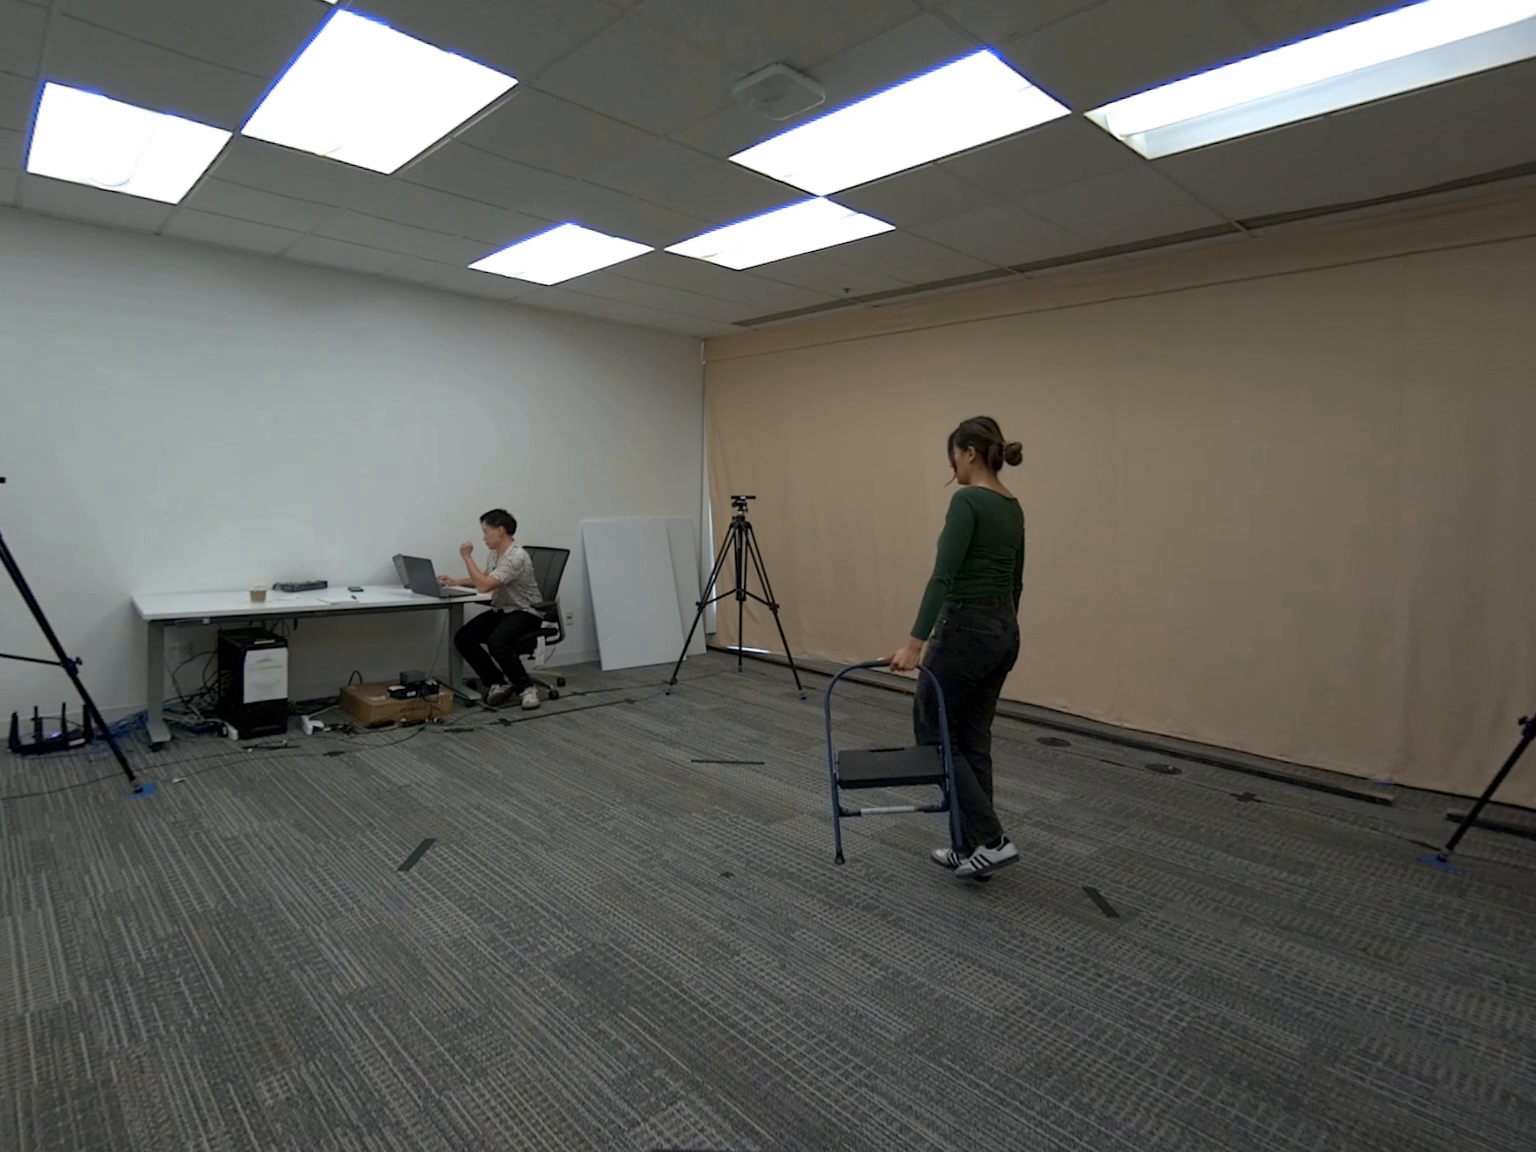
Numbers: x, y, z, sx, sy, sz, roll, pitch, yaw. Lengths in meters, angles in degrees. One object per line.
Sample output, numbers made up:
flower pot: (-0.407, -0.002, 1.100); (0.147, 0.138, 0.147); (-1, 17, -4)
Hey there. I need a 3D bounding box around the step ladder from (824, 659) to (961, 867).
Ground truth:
step ladder: (0.408, 0.615, 2.884); (0.432, 0.601, 0.350); (-4, 9, 5)
